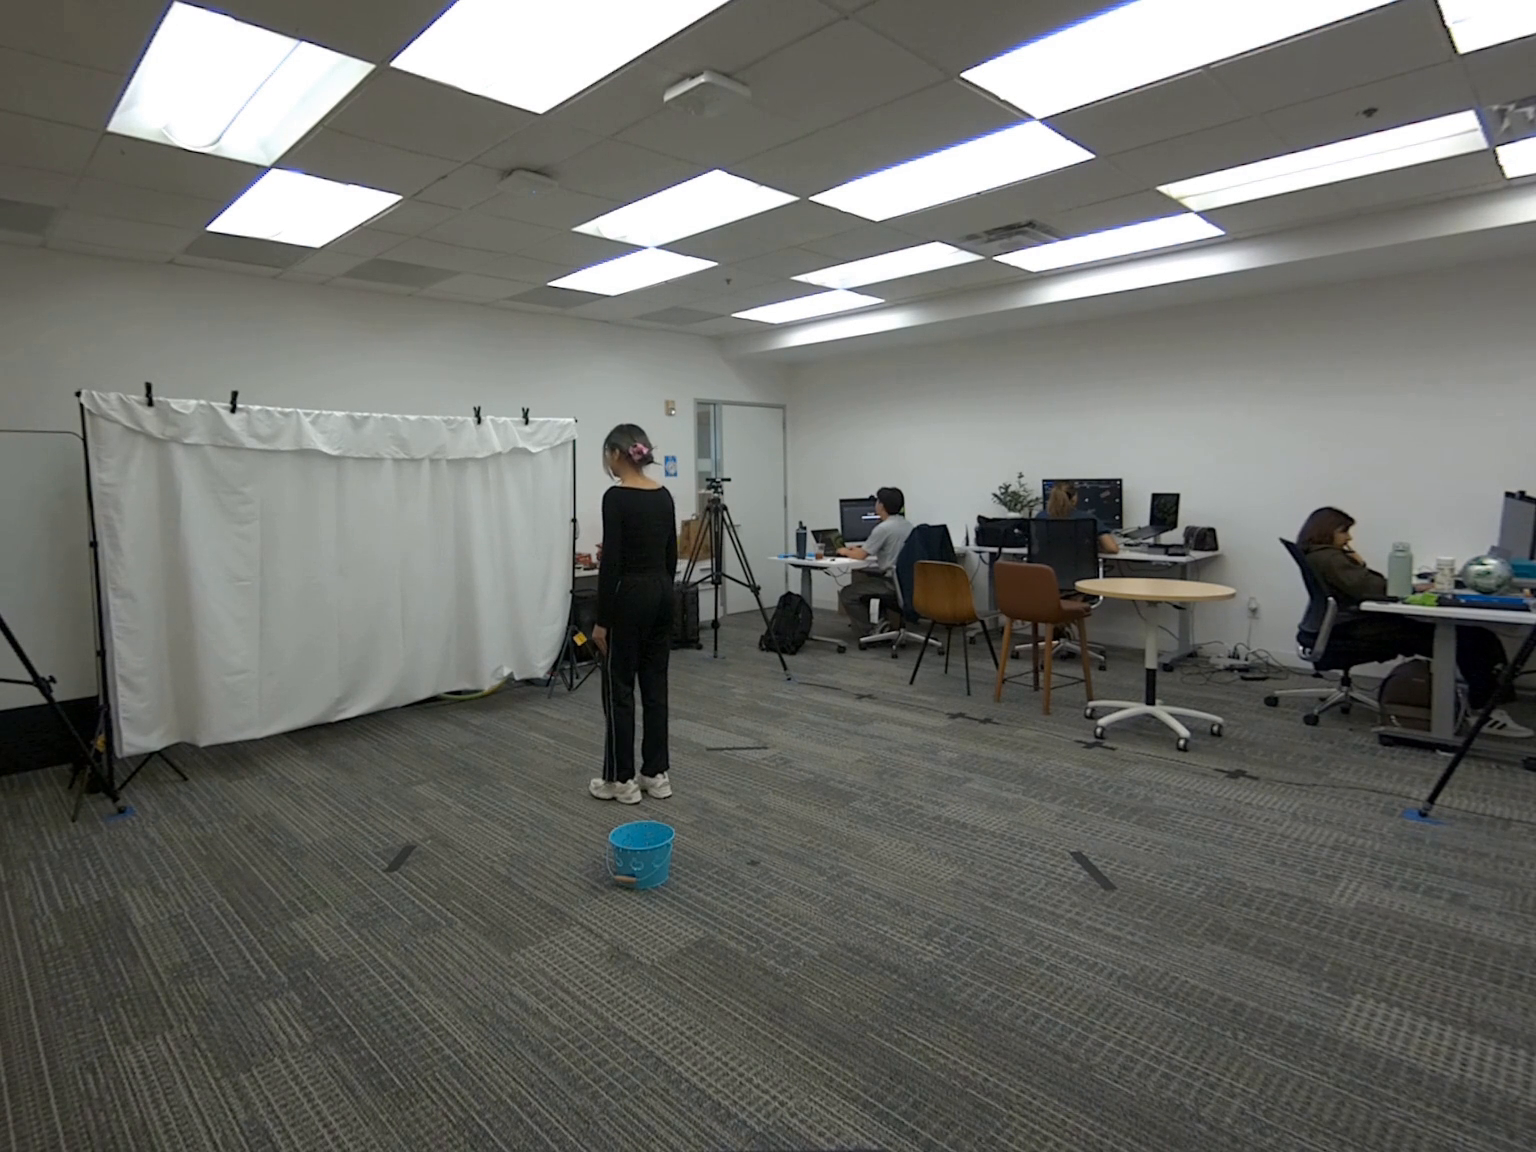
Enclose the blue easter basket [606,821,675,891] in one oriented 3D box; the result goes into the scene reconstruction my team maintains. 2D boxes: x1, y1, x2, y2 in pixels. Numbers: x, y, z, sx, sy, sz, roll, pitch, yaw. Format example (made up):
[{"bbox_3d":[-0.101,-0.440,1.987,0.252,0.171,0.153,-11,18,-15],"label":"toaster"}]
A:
[{"bbox_3d":[-0.437,0.981,3.005,0.243,0.155,0.245,0,6,-2],"label":"blue easter basket"}]
